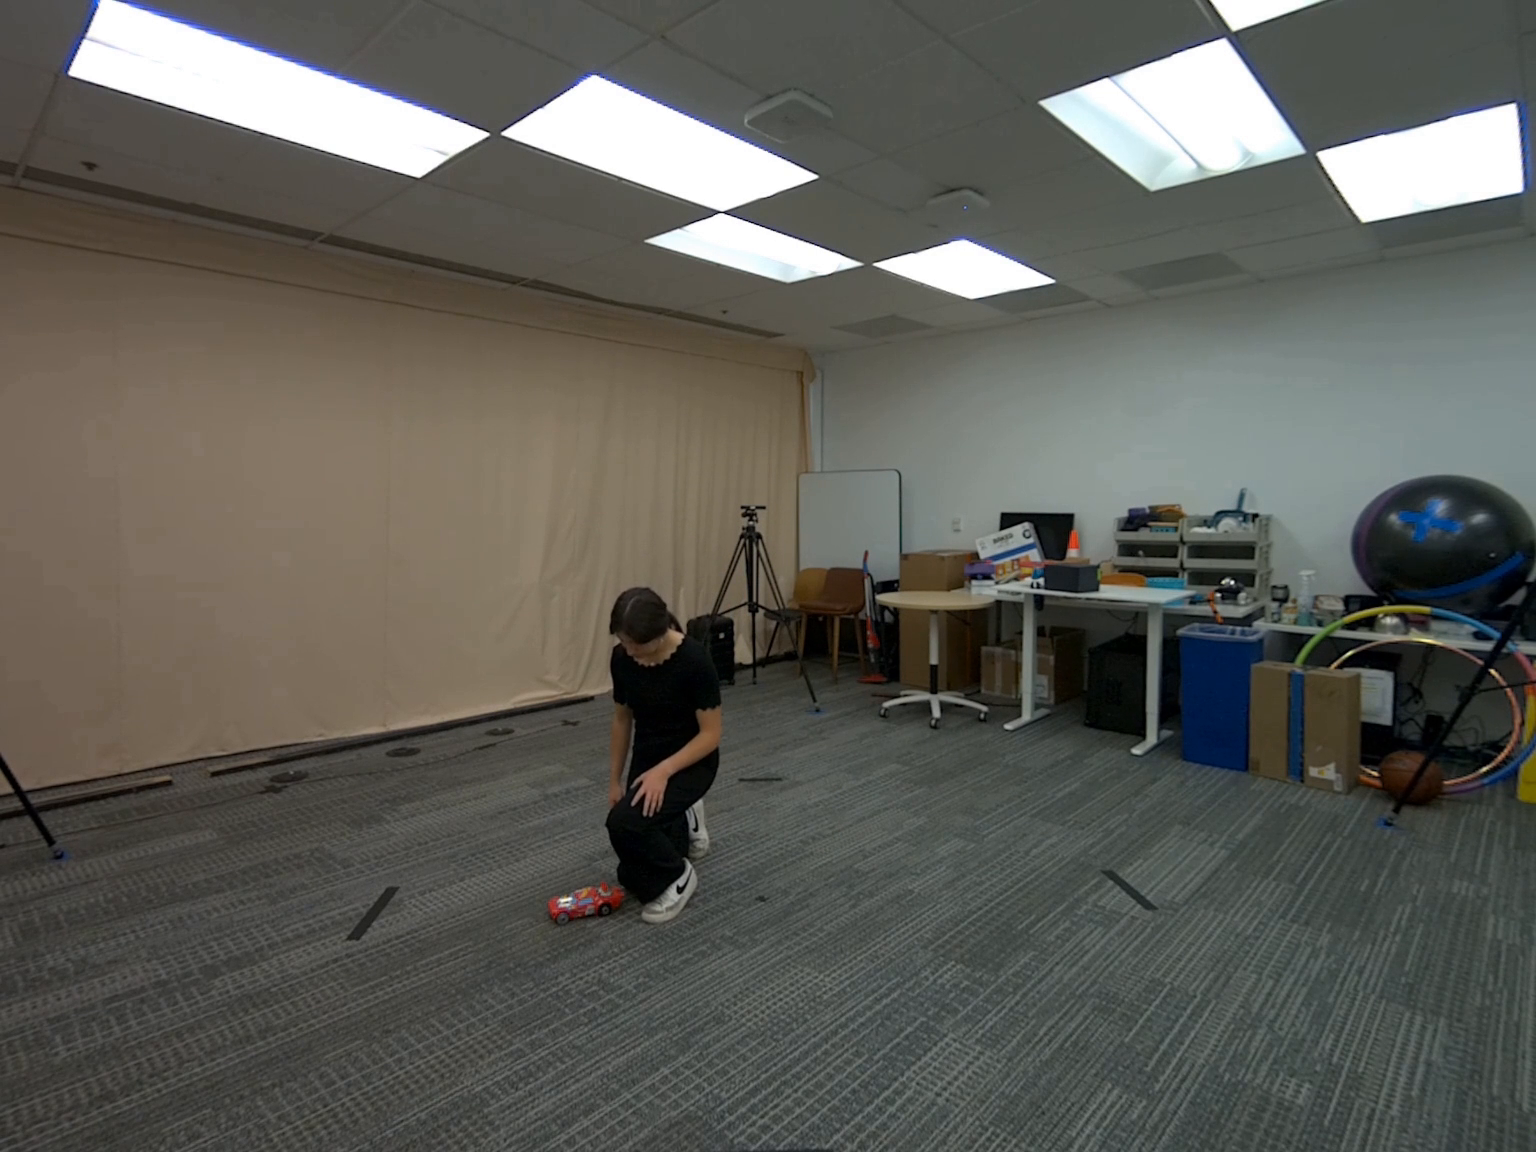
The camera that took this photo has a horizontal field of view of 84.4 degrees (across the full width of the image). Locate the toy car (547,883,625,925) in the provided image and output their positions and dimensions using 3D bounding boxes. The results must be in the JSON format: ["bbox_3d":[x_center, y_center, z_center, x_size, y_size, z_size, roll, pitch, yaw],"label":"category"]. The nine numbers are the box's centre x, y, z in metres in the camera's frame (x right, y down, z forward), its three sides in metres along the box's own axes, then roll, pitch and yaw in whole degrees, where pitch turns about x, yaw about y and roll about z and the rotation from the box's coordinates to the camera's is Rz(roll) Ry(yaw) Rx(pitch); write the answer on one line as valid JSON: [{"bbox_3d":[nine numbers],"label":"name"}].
[{"bbox_3d":[-0.621,1.126,2.897,0.250,0.083,0.133,-13,7,-20],"label":"toy car"}]
